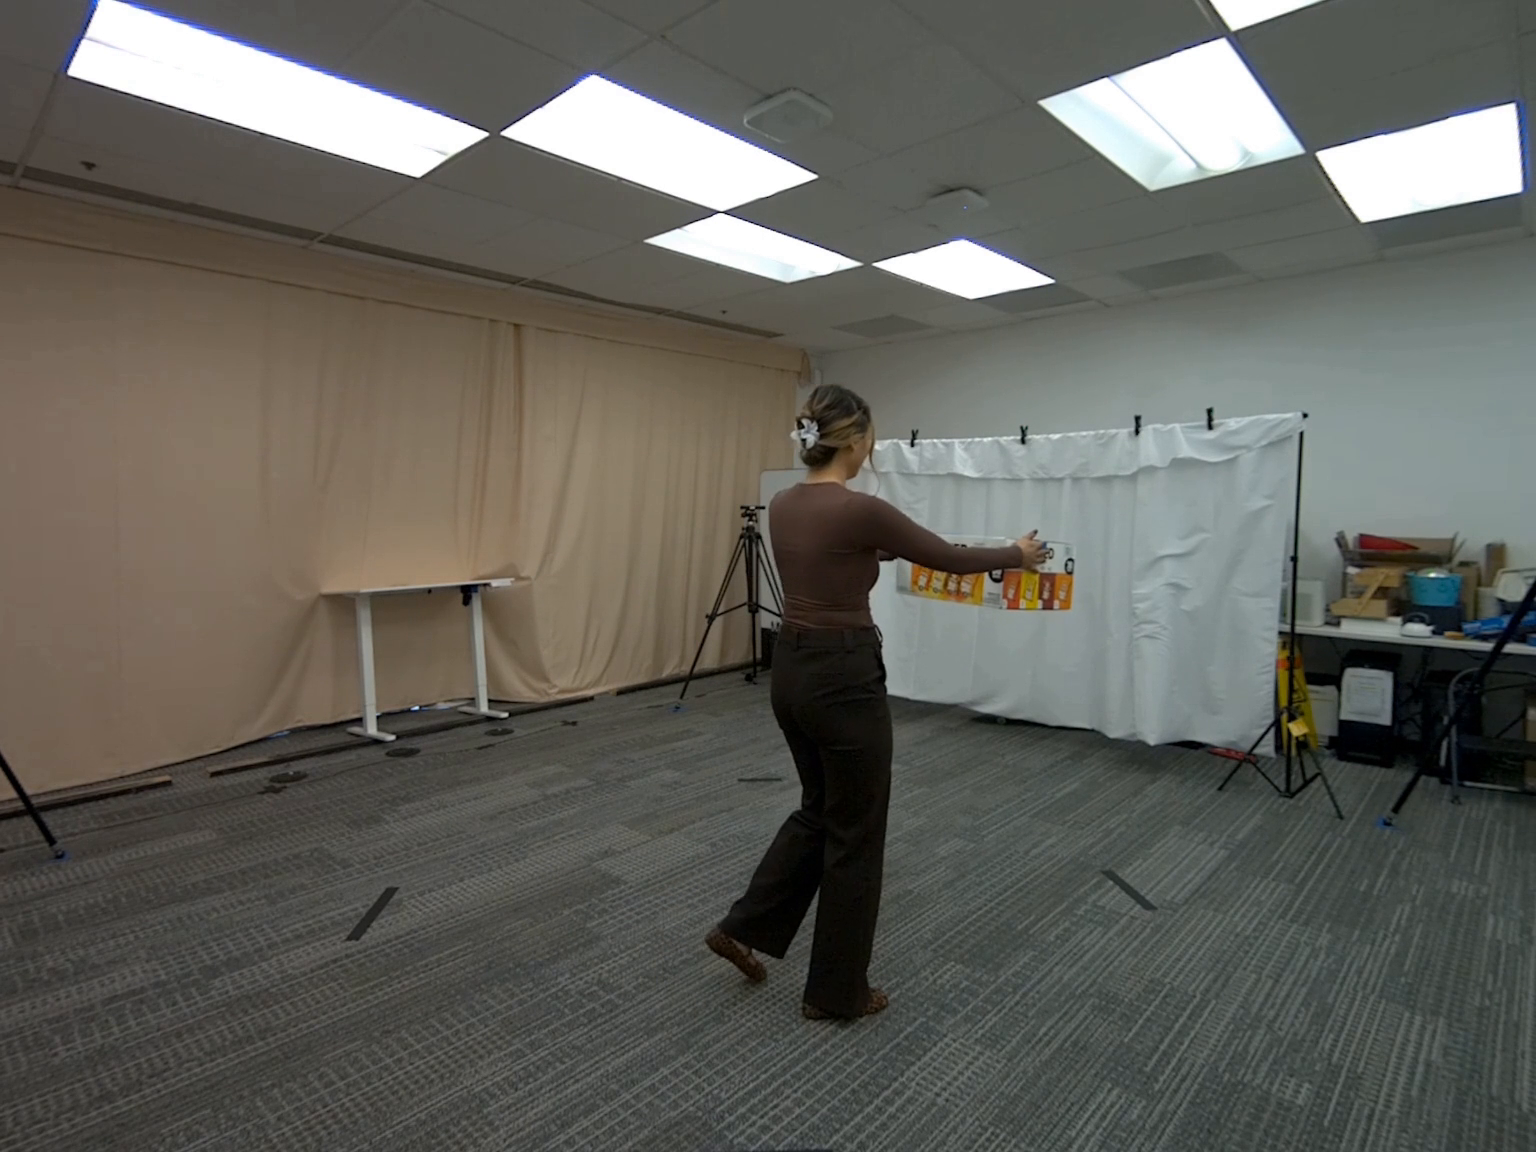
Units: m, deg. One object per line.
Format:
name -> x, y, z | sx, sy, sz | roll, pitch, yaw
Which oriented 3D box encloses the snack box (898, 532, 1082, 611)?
snack box -> 0.681, -0.023, 2.632 | 0.330, 0.205, 0.418 | 1, 3, -37
